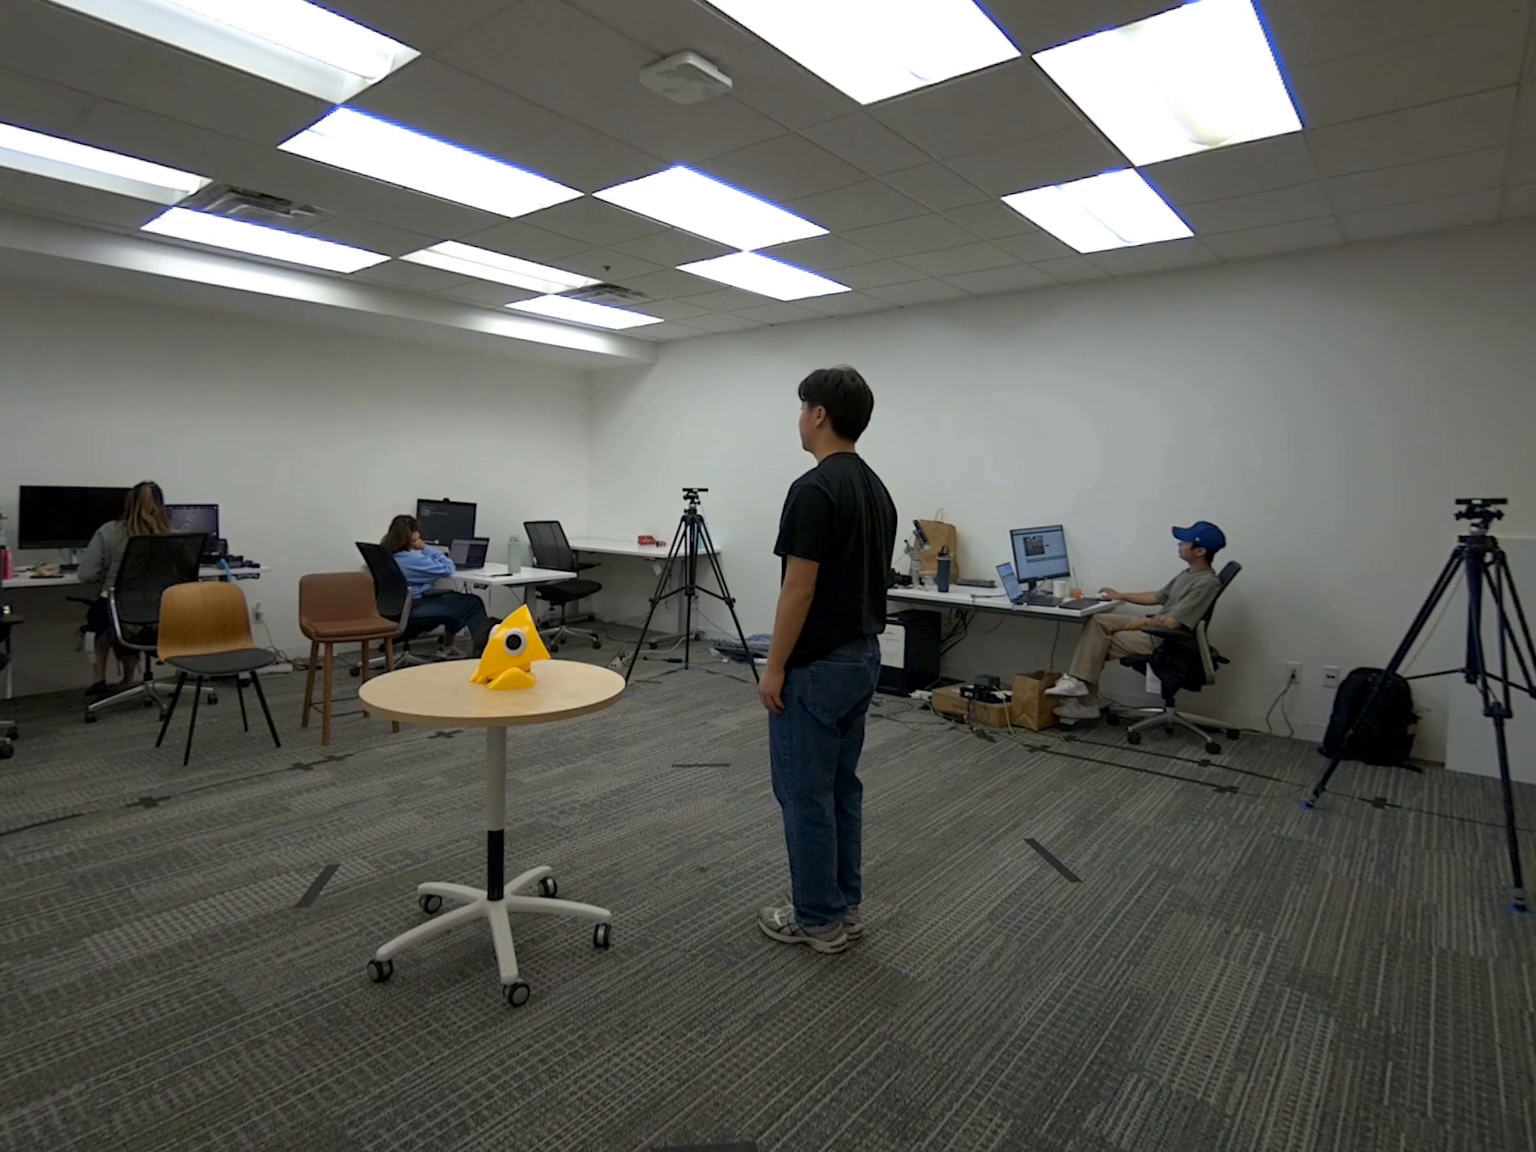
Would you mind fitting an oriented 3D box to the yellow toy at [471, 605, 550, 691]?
[{"bbox_3d":[-0.801,0.205,2.571,0.187,0.230,0.212,-3,6,-43],"label":"yellow toy"}]
